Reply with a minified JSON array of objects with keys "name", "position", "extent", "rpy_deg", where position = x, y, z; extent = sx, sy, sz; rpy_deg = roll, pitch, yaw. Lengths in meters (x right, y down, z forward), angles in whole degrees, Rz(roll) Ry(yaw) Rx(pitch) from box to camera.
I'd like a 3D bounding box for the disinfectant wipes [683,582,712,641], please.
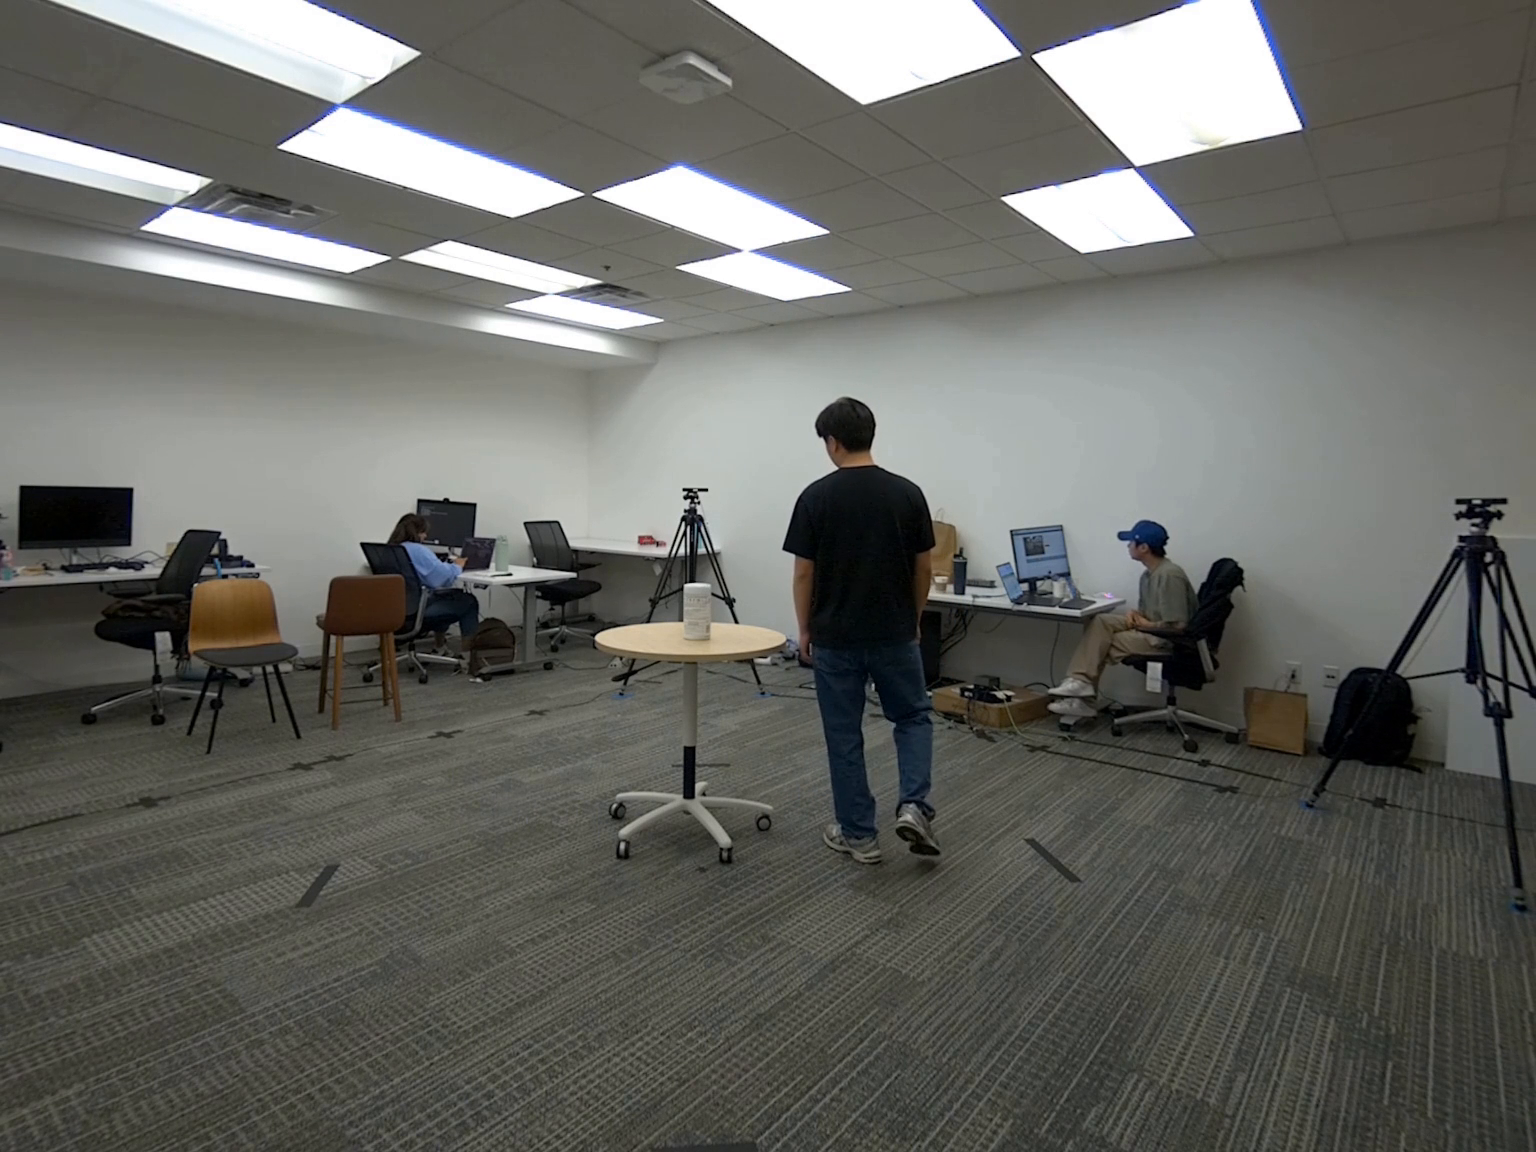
[{"name":"disinfectant wipes","position":[-0.293,0.136,3.379],"extent":[0.118,0.216,0.118],"rpy_deg":[0,4,-2]}]
